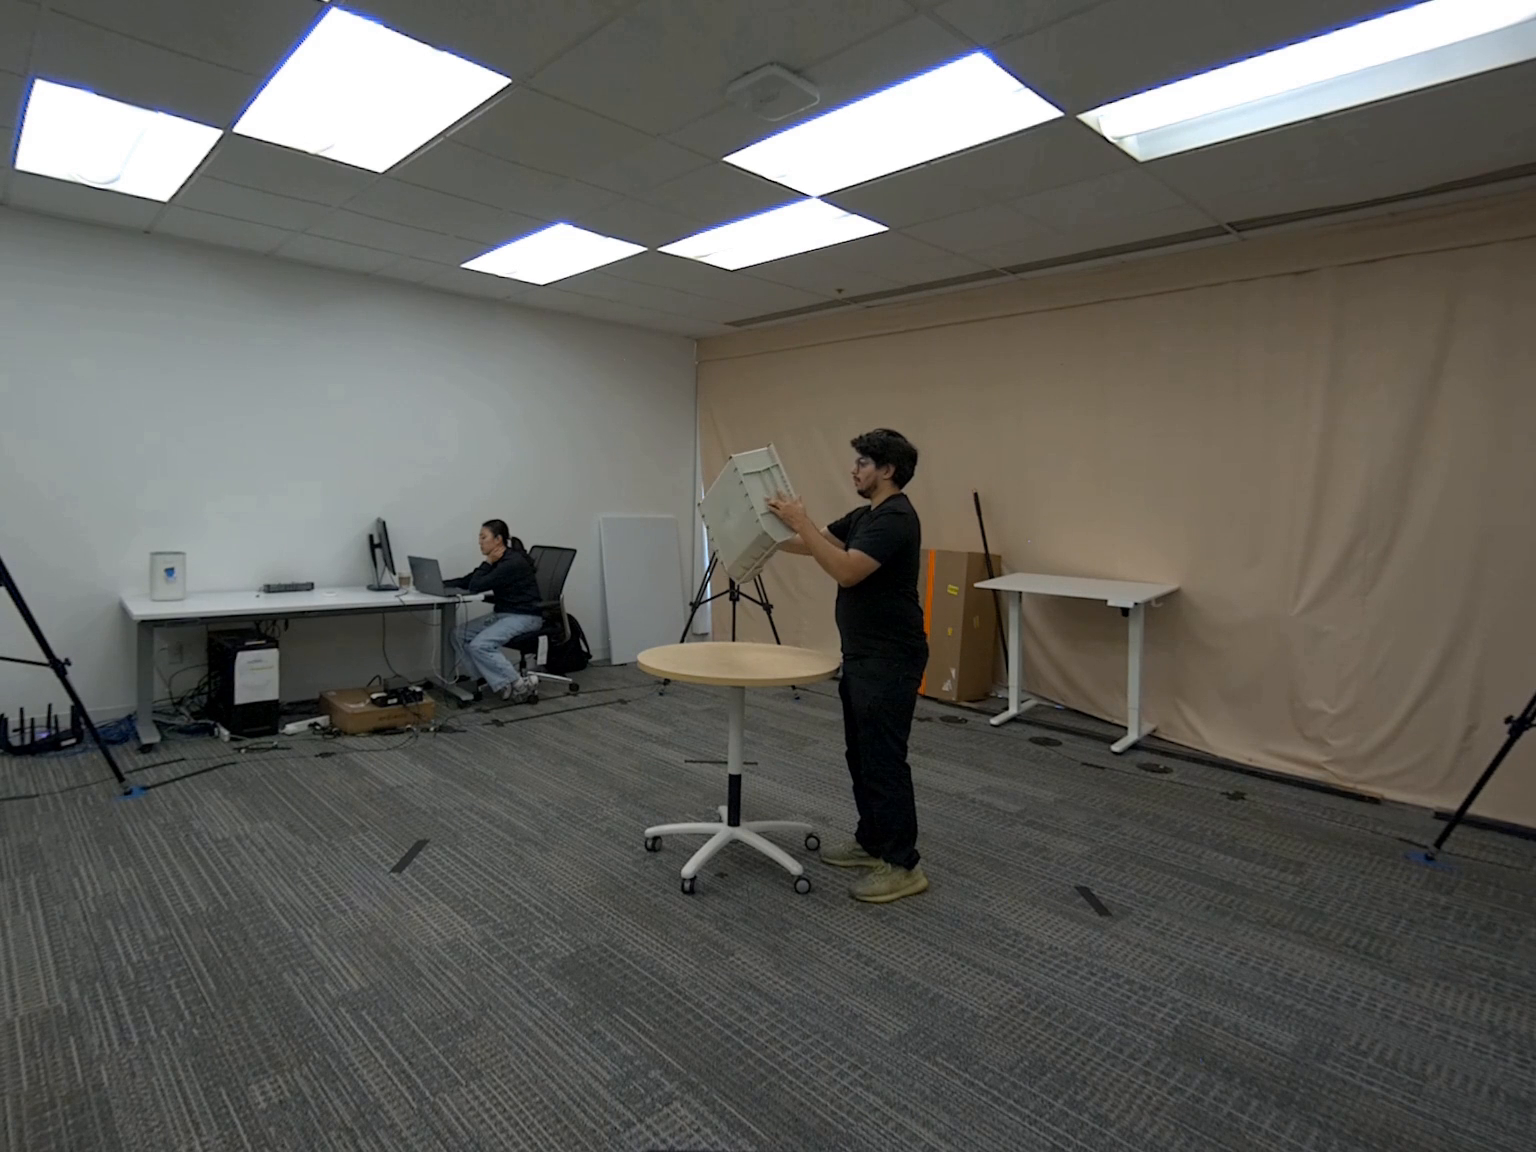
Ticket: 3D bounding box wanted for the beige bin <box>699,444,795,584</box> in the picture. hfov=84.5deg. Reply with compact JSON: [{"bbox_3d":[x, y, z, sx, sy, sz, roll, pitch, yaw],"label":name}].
[{"bbox_3d":[-0.073,-0.220,3.183,0.186,0.383,0.422,-14,-16,-28],"label":"beige bin"}]
